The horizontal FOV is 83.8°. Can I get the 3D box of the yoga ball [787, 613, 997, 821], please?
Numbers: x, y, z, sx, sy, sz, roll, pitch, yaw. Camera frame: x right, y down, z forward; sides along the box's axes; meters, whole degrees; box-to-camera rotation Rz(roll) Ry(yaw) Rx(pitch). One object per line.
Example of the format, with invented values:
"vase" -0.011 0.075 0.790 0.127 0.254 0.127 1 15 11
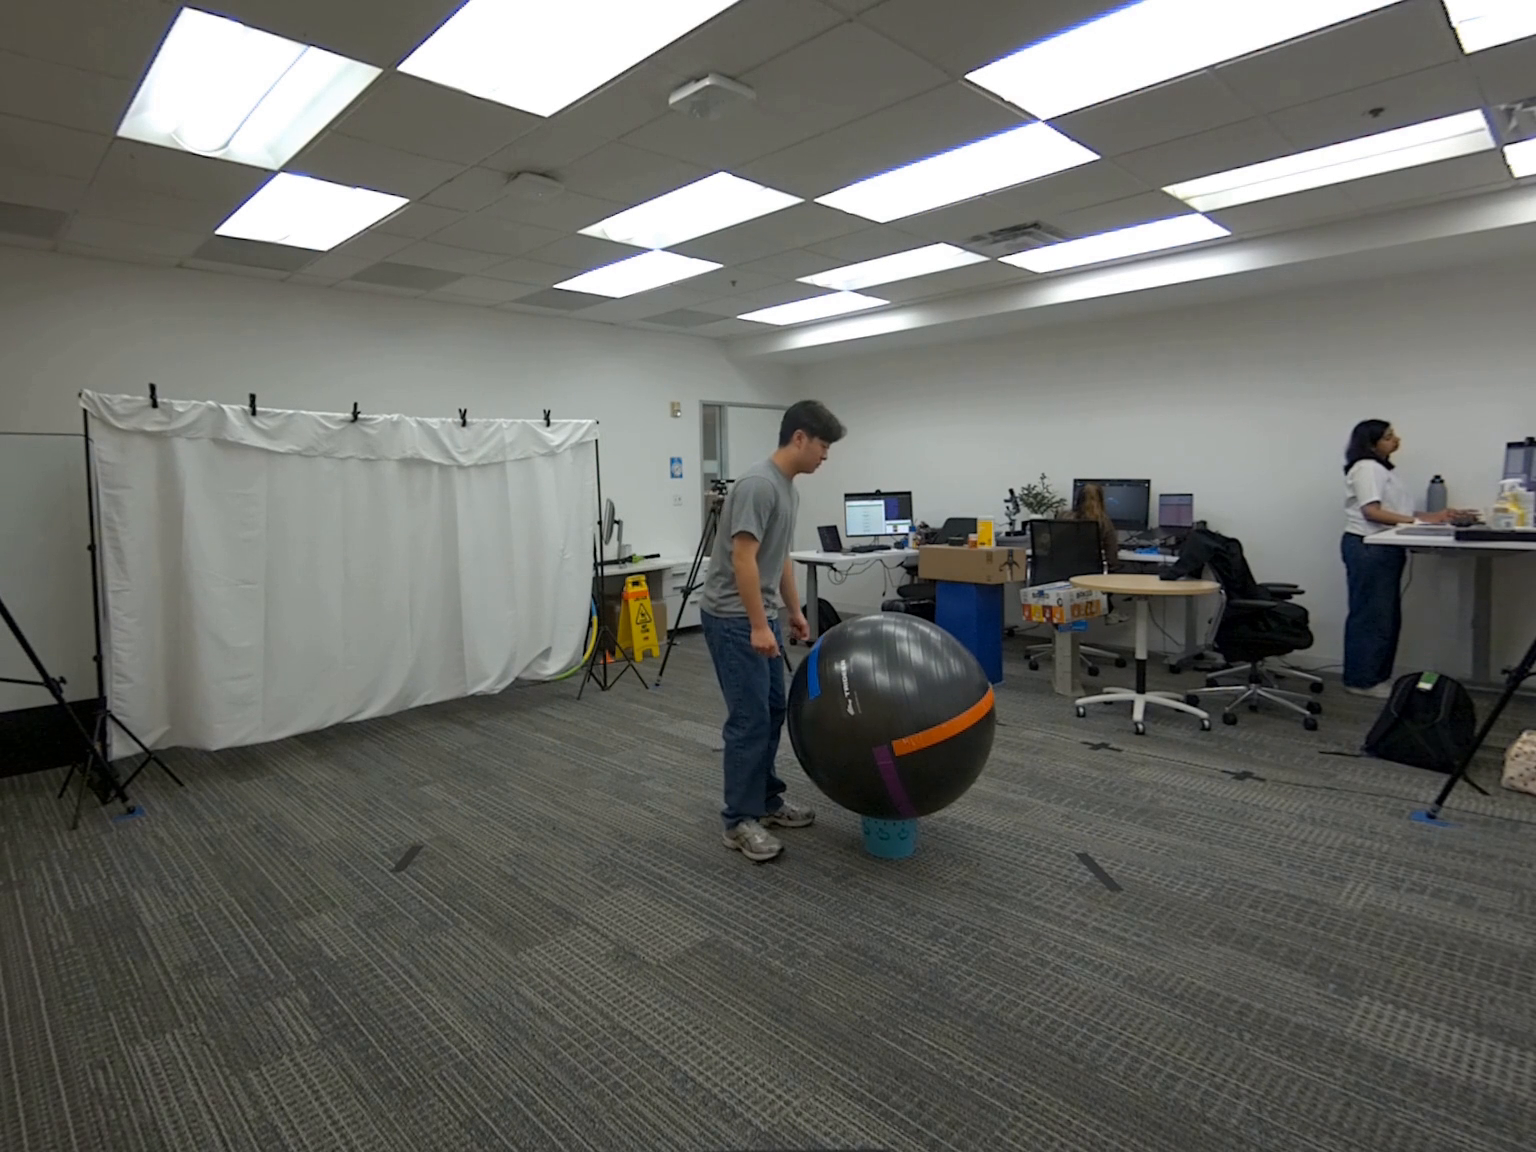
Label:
"yoga ball" 0.448 0.516 3.193 0.757 0.755 0.762 -1 5 -2
